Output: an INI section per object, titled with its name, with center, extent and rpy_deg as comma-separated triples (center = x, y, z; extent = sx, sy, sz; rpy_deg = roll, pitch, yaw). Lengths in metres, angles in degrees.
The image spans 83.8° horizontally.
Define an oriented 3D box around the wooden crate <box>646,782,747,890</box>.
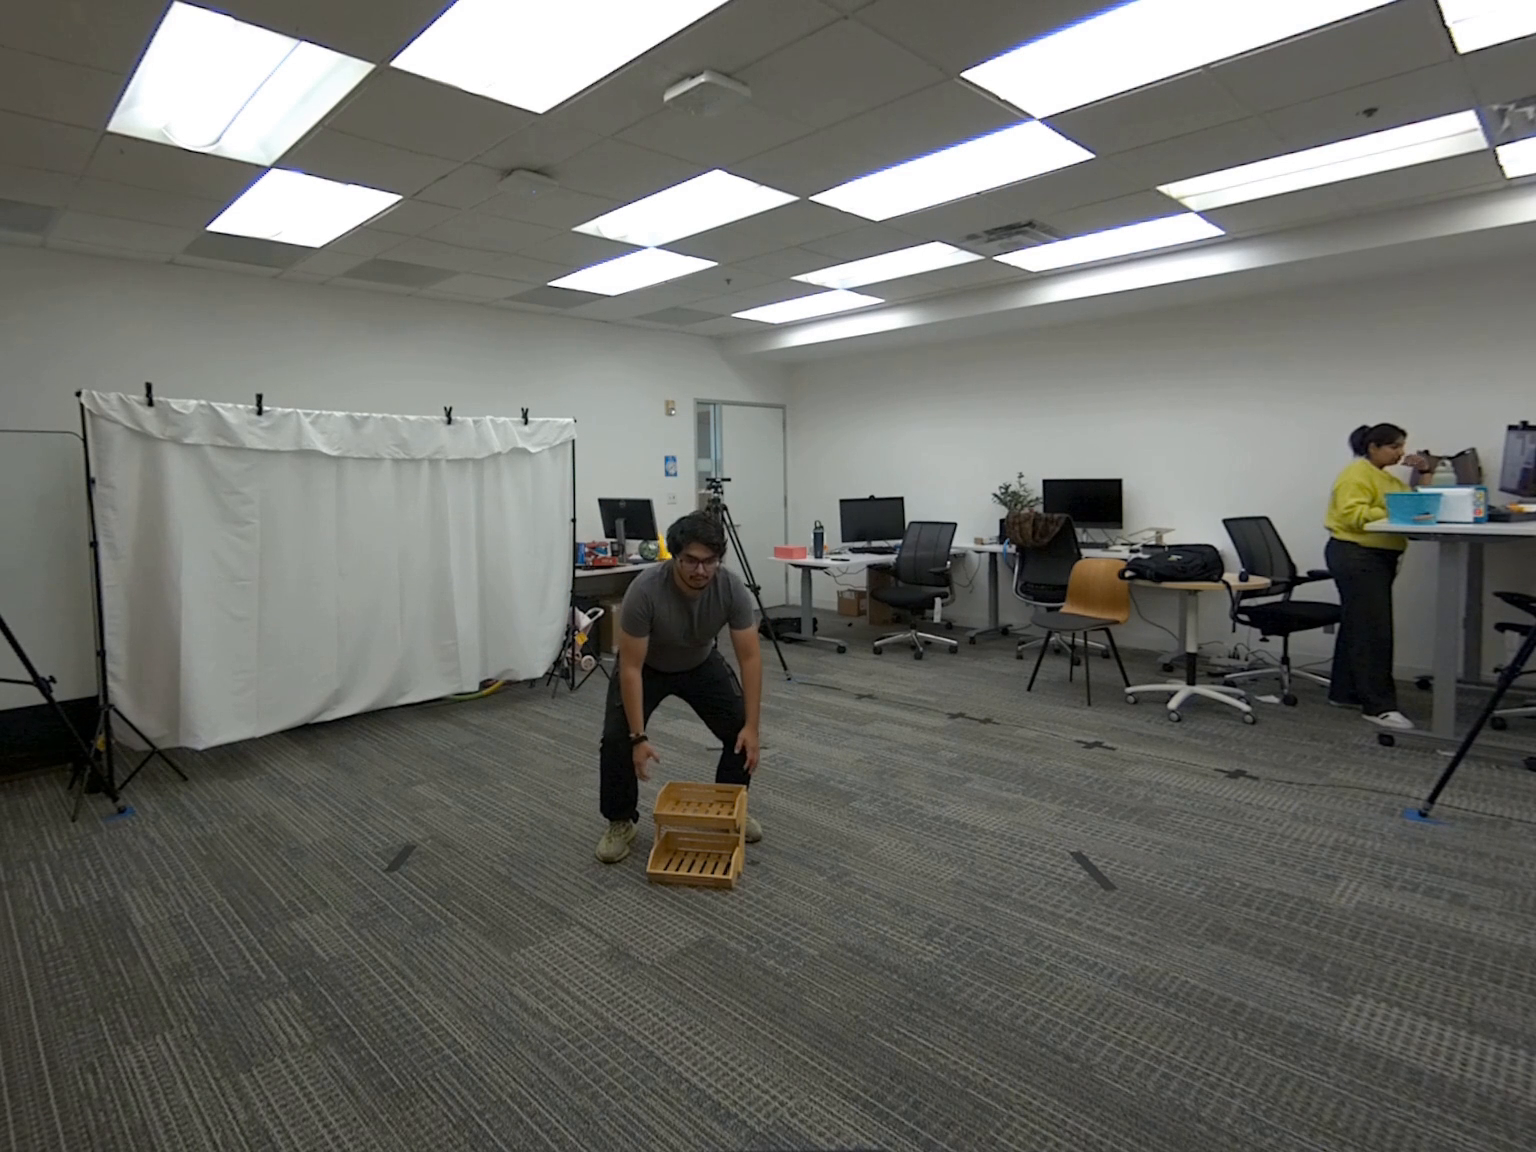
[wooden crate]
center = -0.247, 0.920, 3.054
extent = 0.328, 0.272, 0.300
rpy_deg = 0, 4, 10
